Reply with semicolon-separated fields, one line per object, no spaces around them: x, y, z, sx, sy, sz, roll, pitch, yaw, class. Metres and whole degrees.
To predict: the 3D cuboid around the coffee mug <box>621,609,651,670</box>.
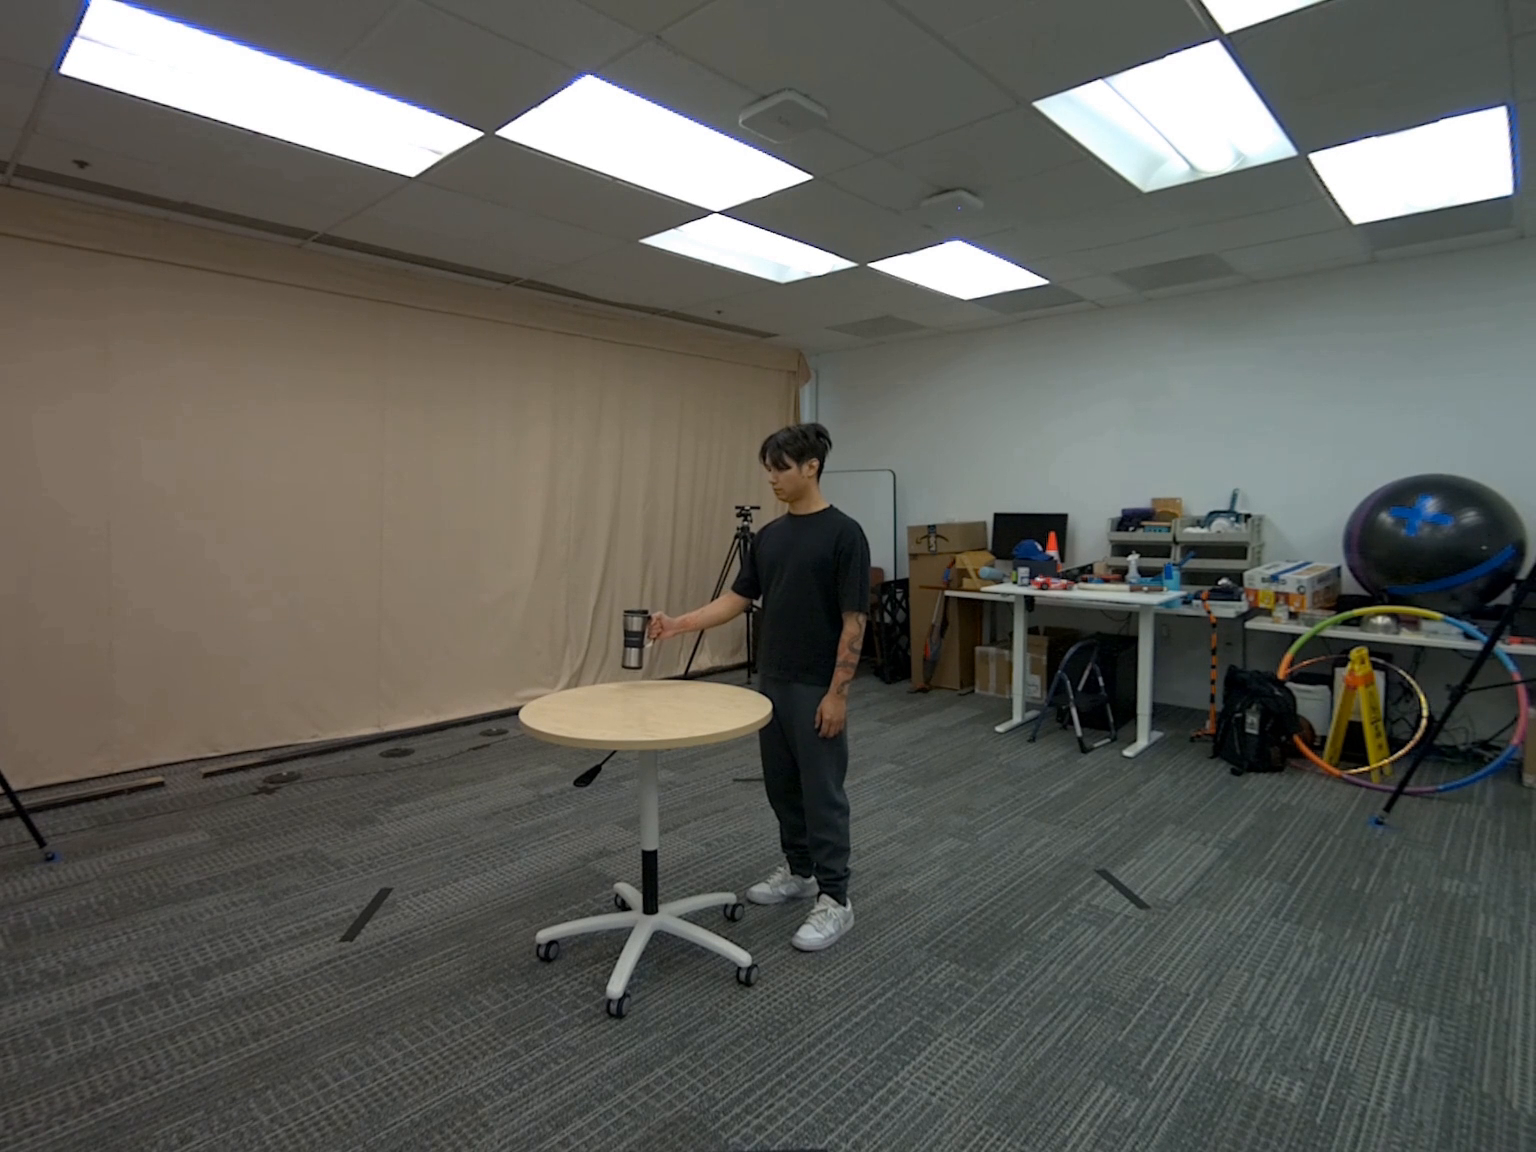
-0.444;0.218;2.876;0.126;0.203;0.085;0;-4;38;coffee mug
